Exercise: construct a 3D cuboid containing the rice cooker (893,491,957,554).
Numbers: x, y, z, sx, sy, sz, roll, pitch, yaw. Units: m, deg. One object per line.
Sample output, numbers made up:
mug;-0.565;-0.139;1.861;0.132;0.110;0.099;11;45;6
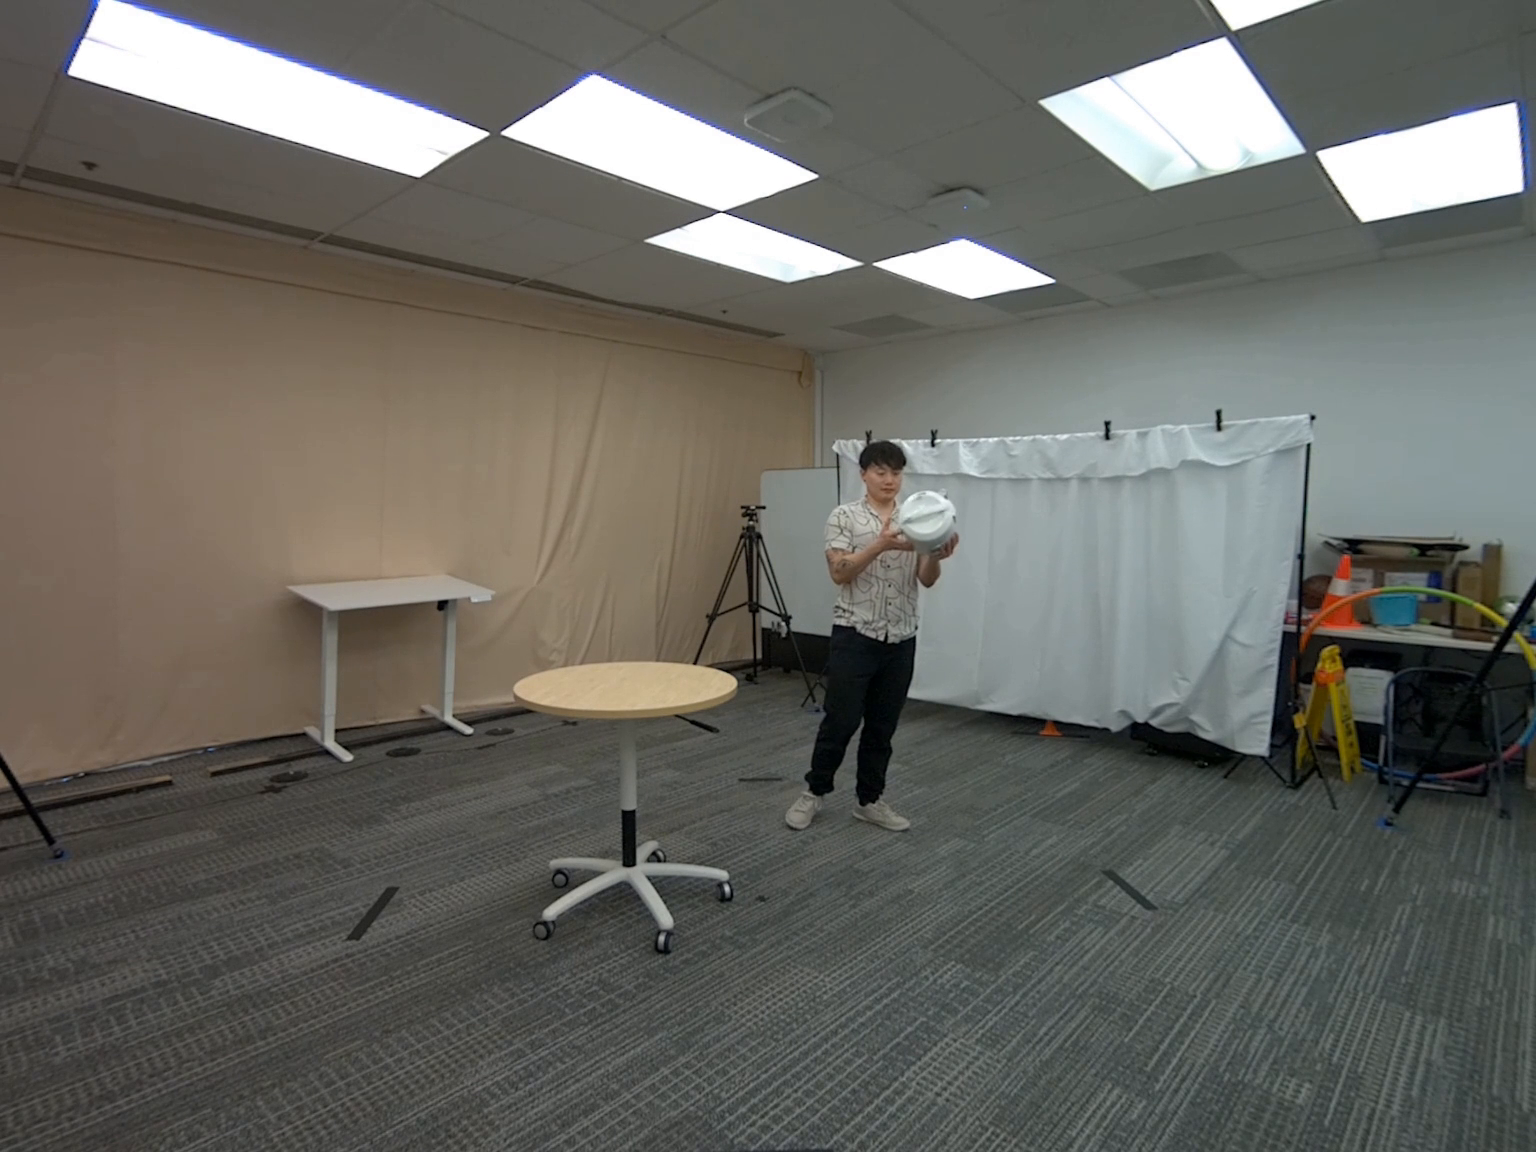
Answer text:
rice cooker;0.619;-0.206;3.286;0.223;0.221;0.226;-18;-22;12
